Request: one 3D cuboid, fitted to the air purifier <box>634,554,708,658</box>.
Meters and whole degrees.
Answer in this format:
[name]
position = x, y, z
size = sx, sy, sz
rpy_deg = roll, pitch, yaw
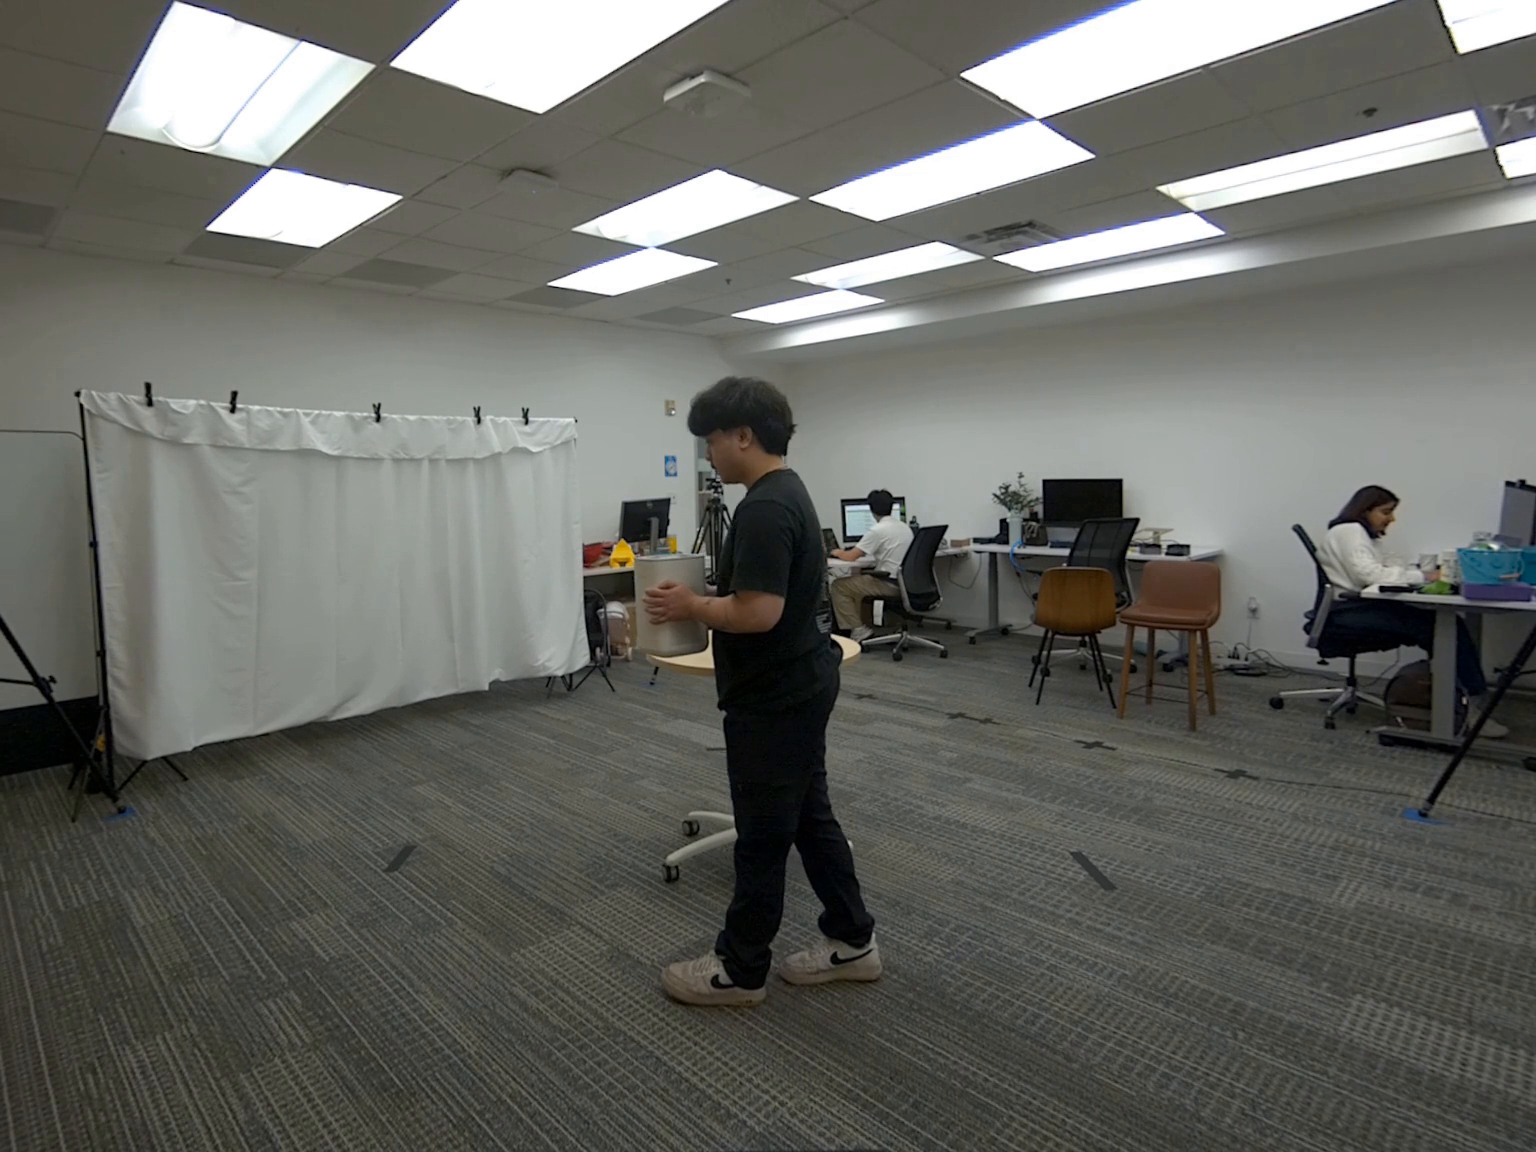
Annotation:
[air purifier]
position = -0.257, 0.075, 2.320
size = 0.167, 0.265, 0.175
rpy_deg = -3, 0, -34
